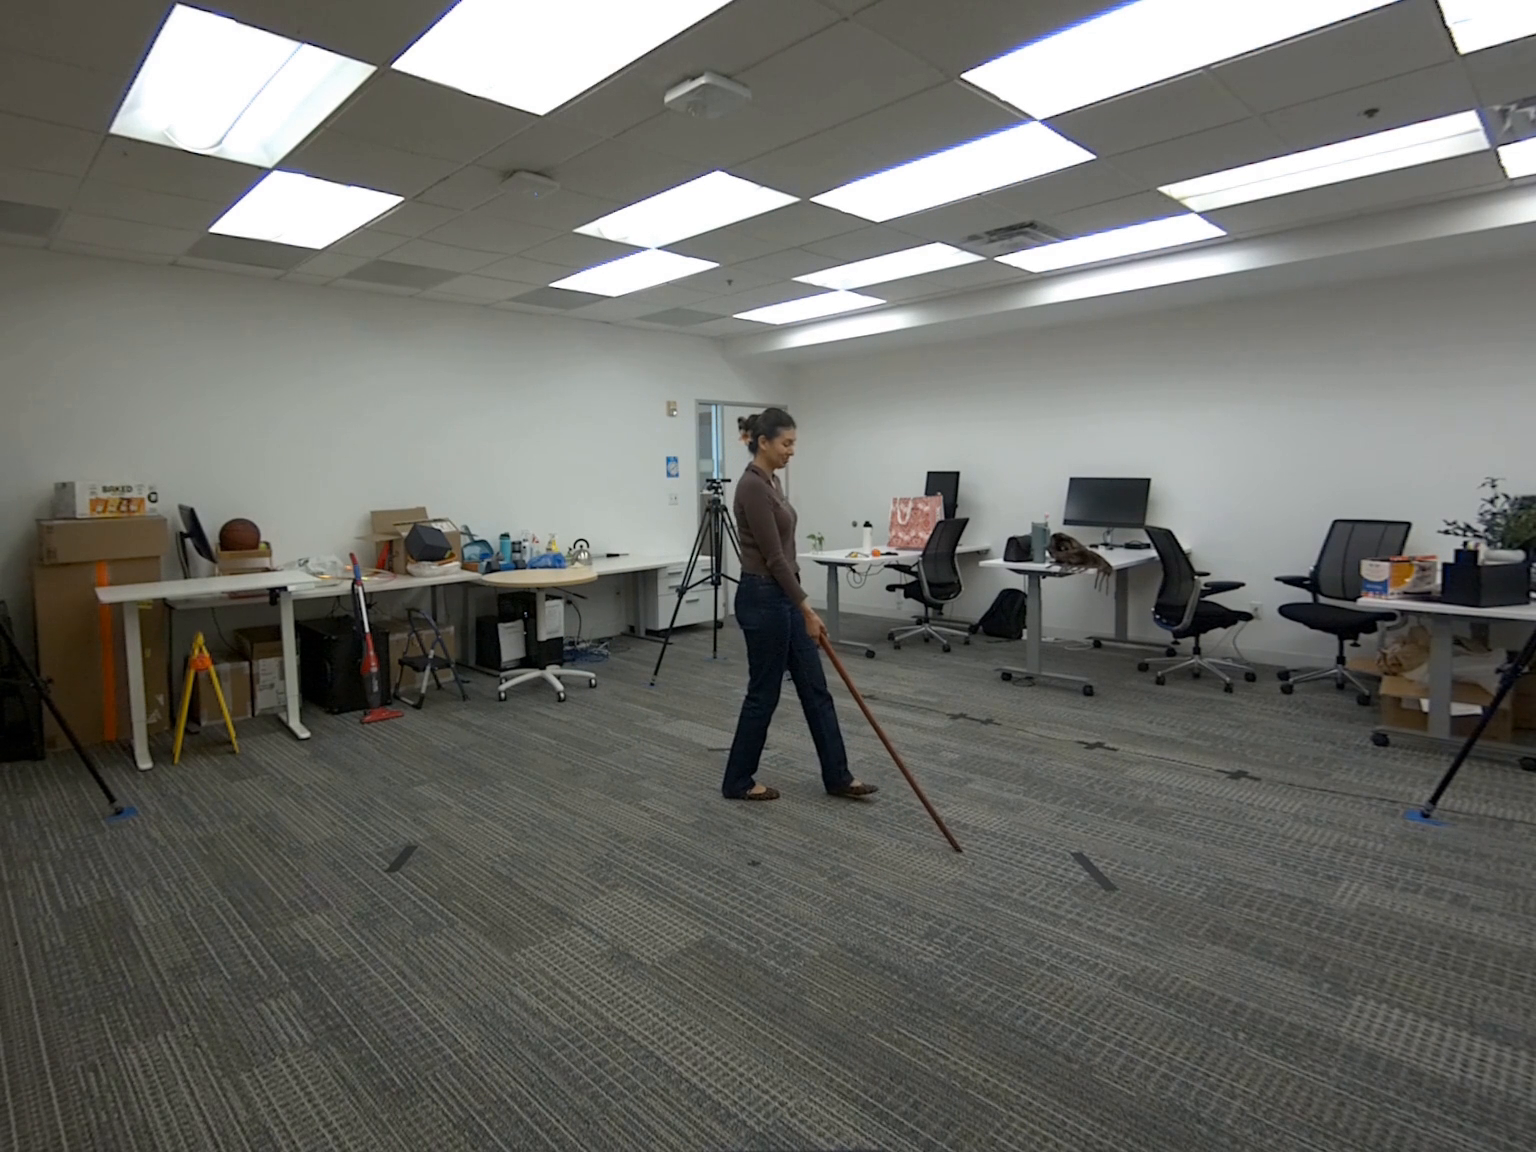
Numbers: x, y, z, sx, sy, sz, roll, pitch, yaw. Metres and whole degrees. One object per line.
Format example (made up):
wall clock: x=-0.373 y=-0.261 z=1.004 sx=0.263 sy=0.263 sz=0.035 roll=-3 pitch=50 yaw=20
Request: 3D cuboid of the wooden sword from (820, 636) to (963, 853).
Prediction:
wooden sword: x=0.456 y=0.625 z=3.361 sx=0.024 sy=1.052 sz=0.050 roll=-41 pitch=-22 yaw=18
